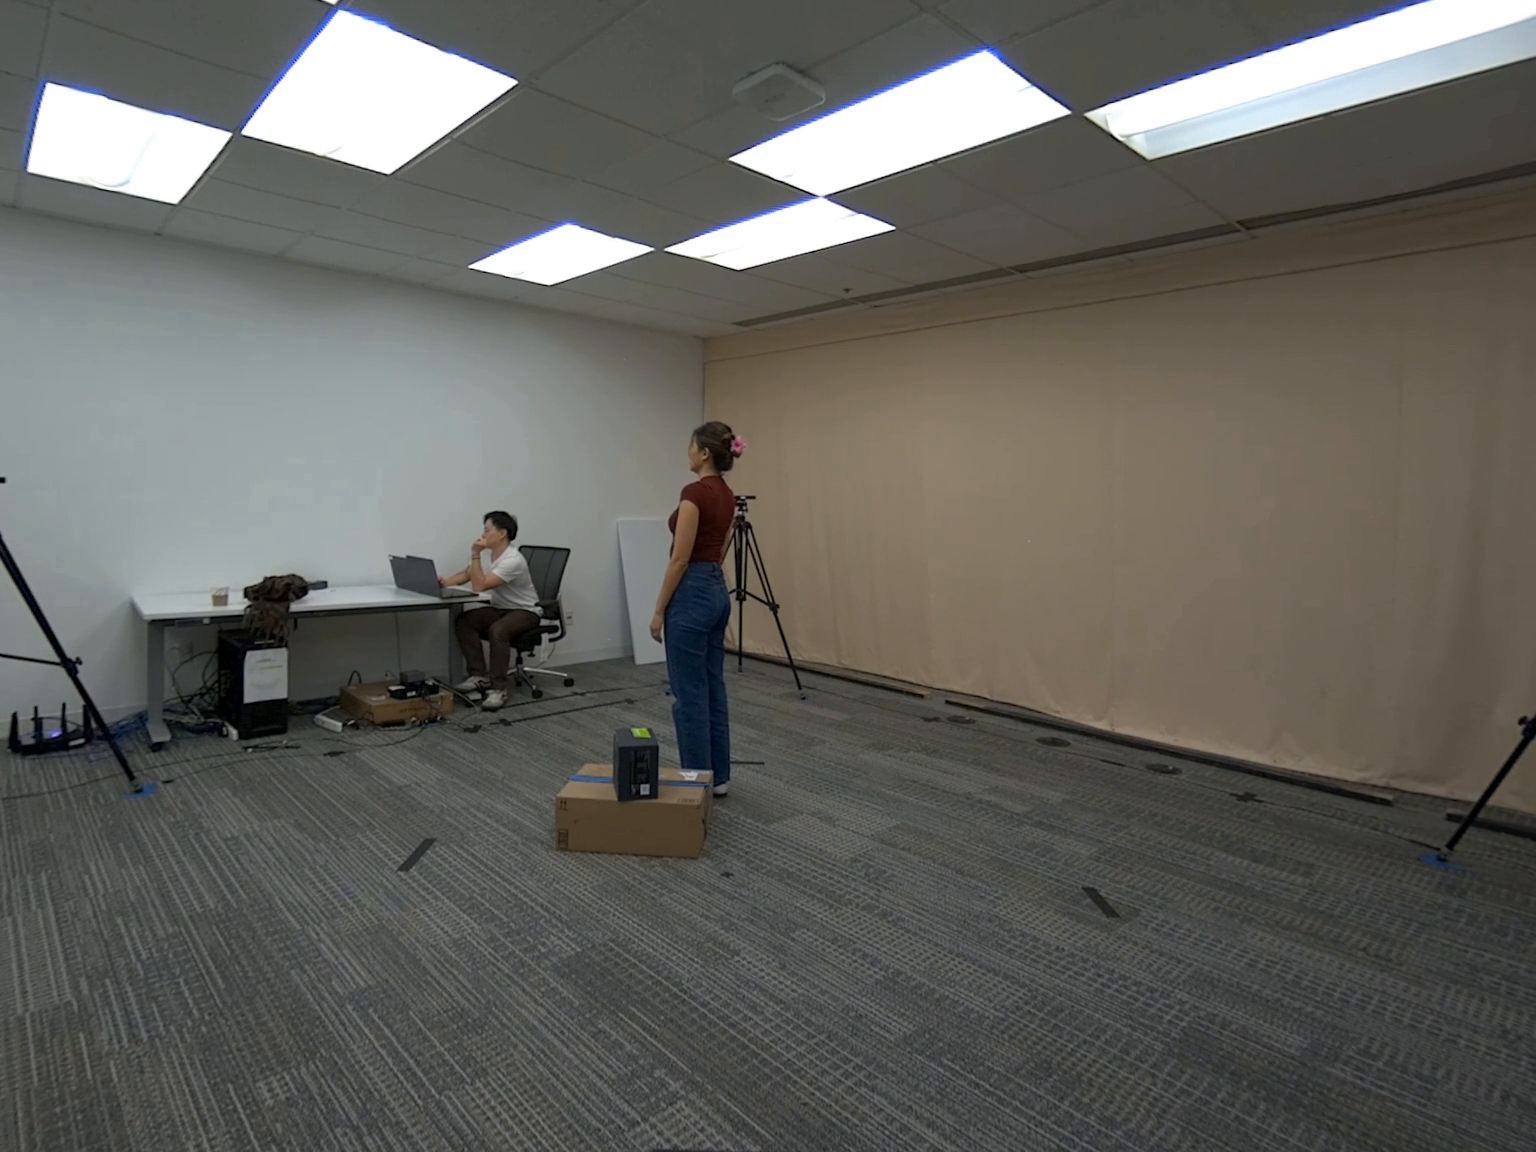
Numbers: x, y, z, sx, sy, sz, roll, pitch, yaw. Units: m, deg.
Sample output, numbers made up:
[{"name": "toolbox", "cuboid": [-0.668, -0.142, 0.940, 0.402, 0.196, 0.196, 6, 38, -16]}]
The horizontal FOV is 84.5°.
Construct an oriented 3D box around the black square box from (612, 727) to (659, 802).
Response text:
[{"name": "black square box", "cuboid": [-0.528, 0.737, 3.343, 0.154, 0.216, 0.231, 1, 5, -14]}]
